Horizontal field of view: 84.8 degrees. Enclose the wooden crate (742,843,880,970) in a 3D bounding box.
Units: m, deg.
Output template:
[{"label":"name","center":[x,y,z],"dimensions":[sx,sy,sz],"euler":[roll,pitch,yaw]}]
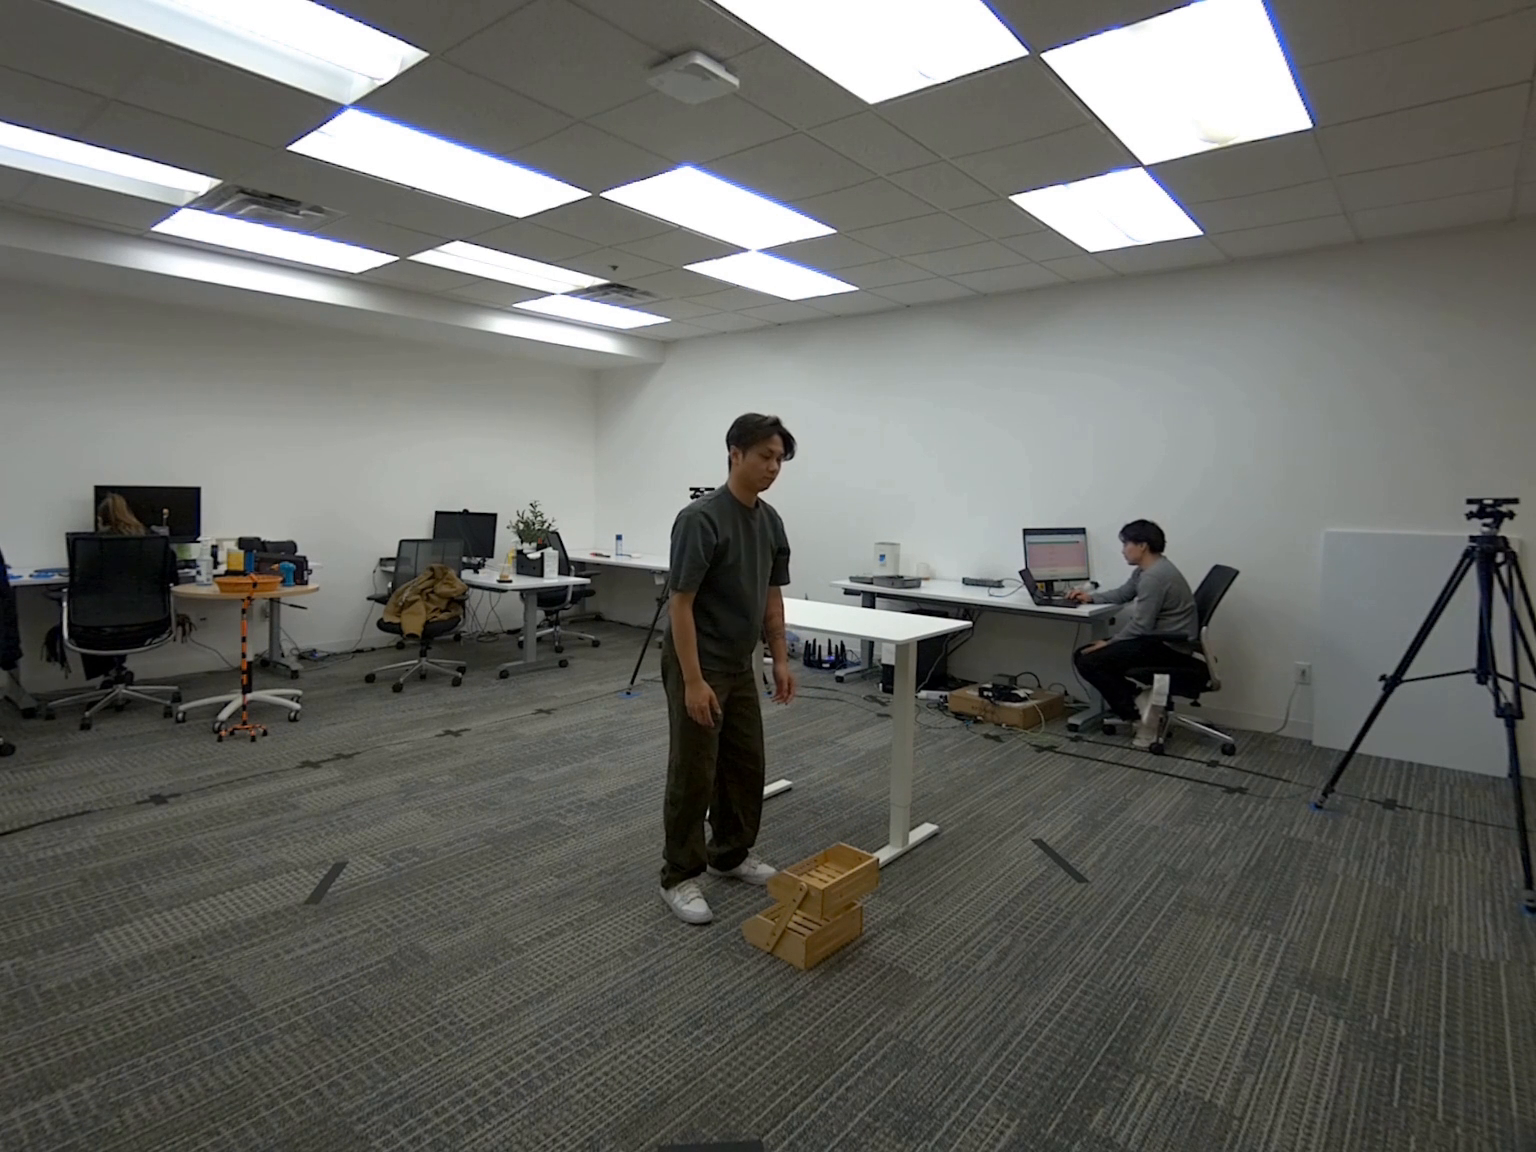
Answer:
[{"label":"wooden crate","center":[0.125,0.988,2.627],"dimensions":[0.312,0.272,0.314],"euler":[6,6,41]}]
